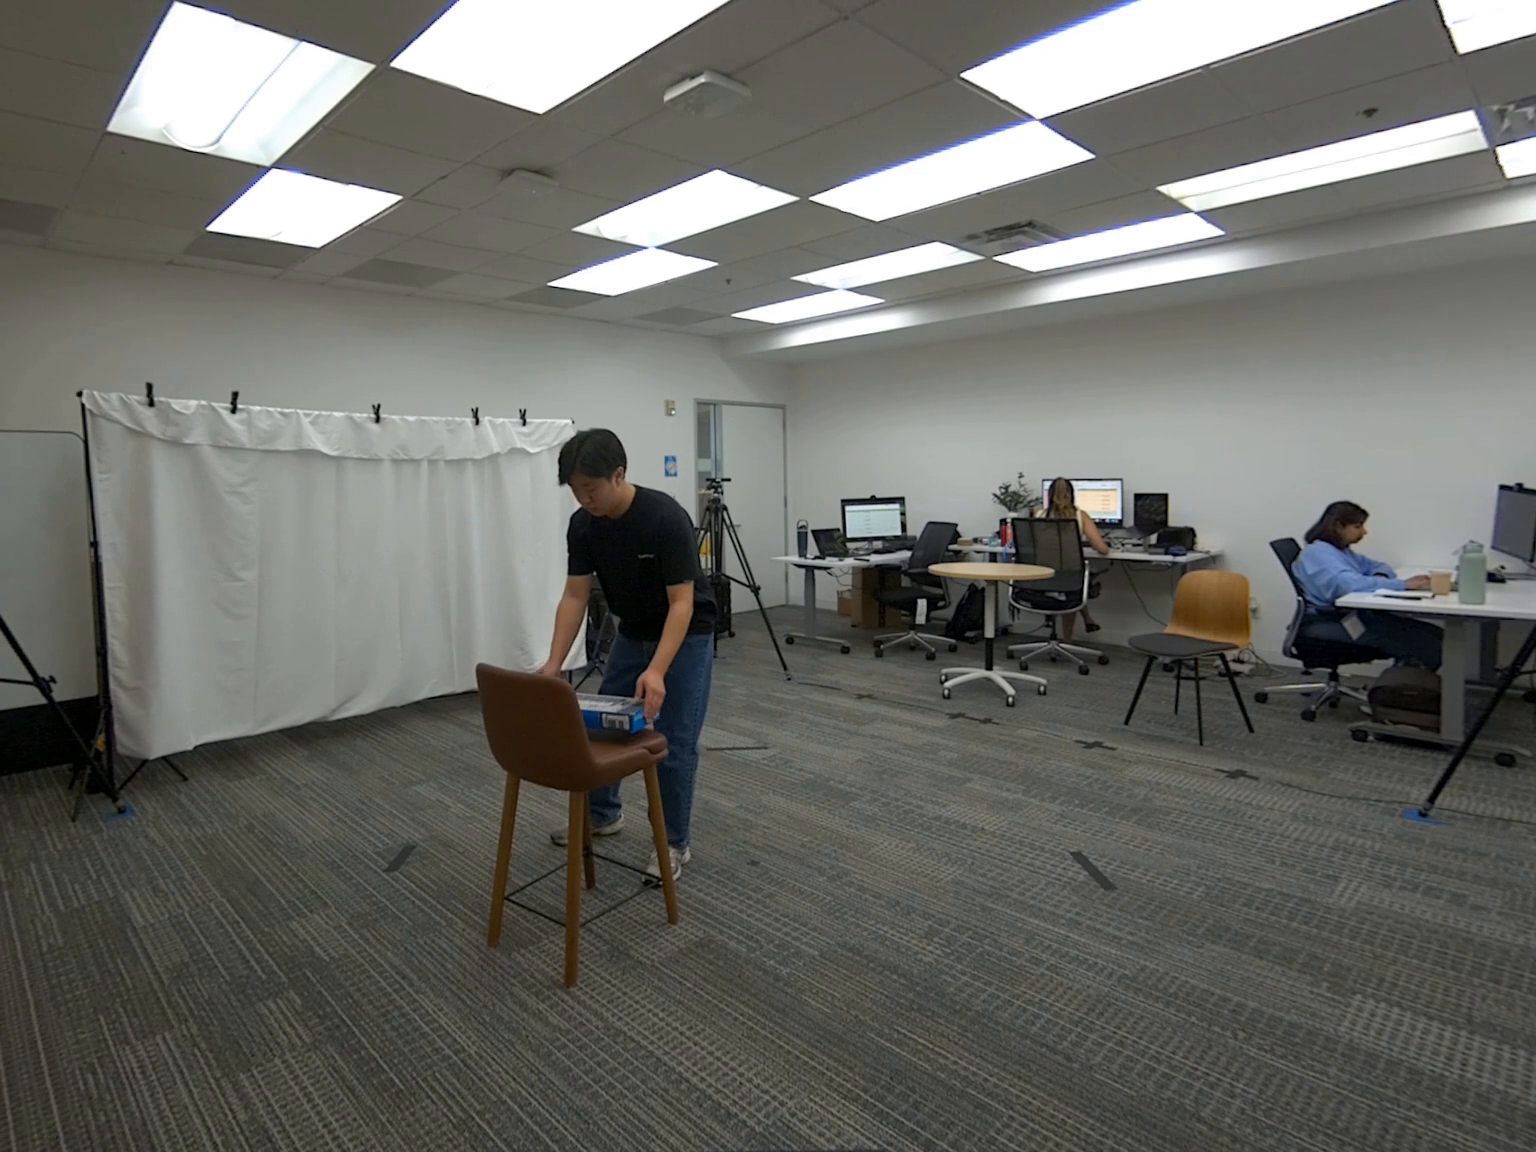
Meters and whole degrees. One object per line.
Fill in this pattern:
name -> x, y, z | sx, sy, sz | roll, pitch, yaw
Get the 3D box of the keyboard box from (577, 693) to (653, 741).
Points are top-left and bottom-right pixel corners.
keyboard box -> -0.576, 0.423, 2.681 | 0.446, 0.059, 0.173 | 1, 5, 23
